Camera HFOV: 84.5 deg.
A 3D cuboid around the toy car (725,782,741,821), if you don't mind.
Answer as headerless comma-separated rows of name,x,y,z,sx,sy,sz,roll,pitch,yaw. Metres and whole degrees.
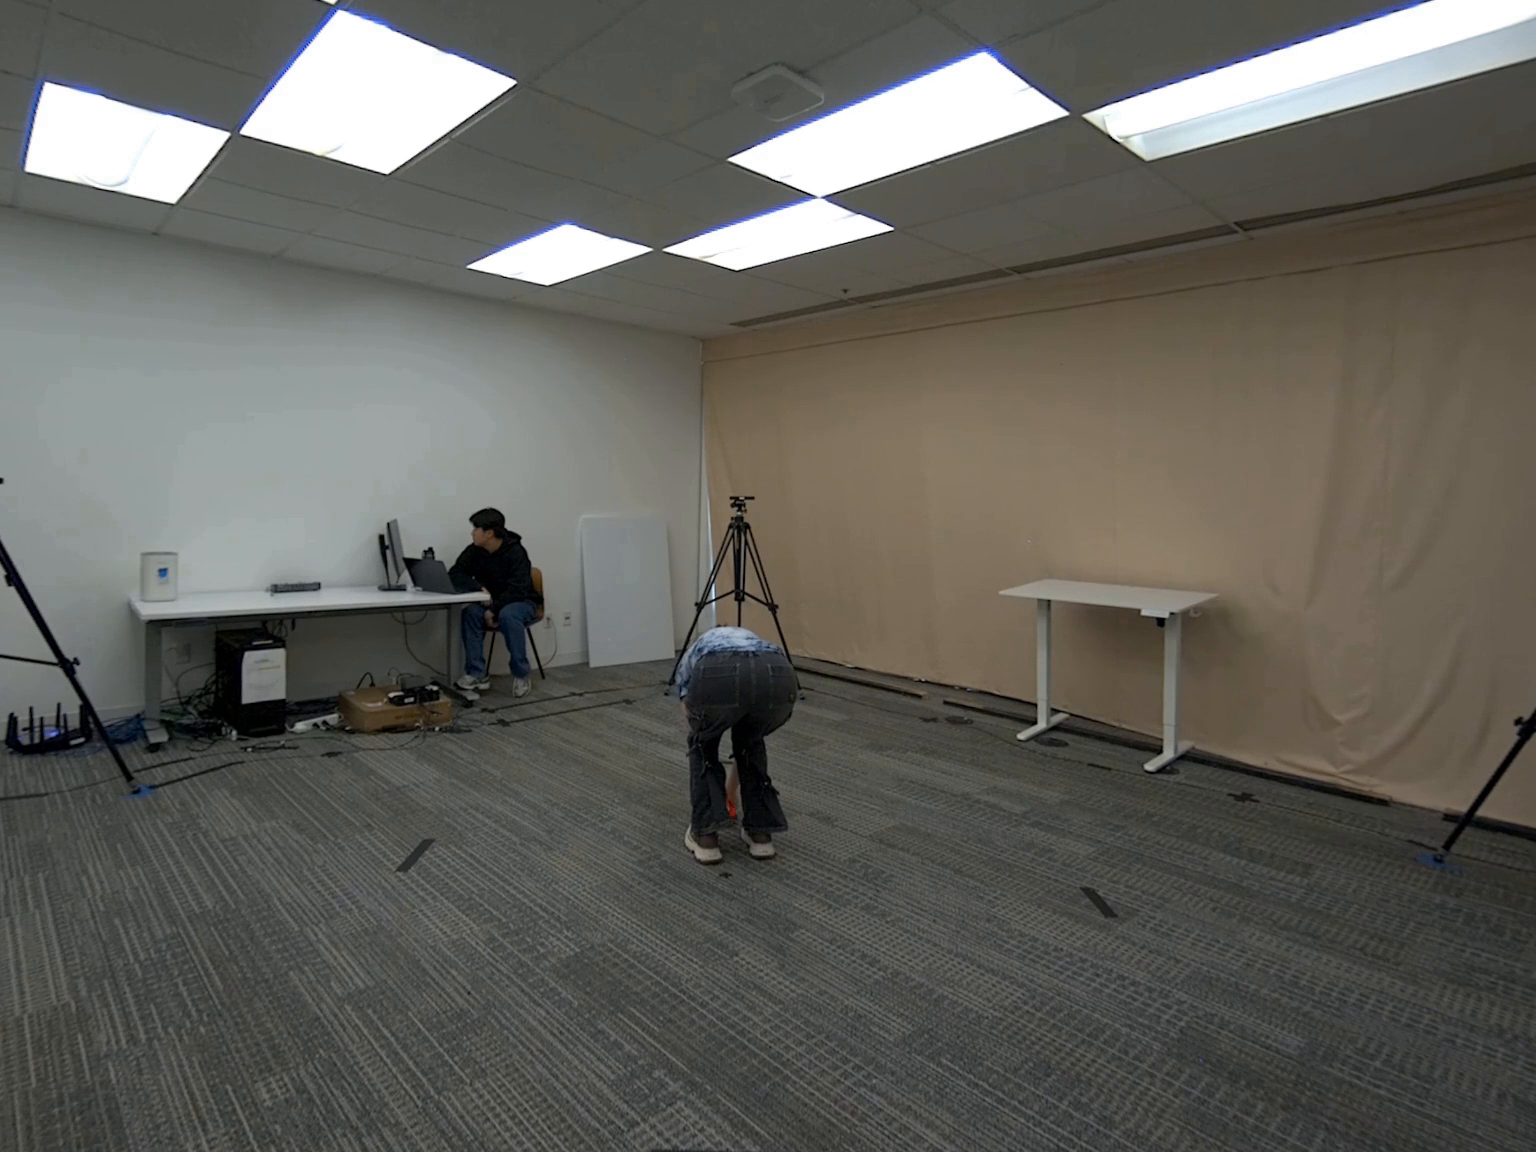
toy car,-0.210,1.007,3.650,0.129,0.083,0.257,0,3,-10
